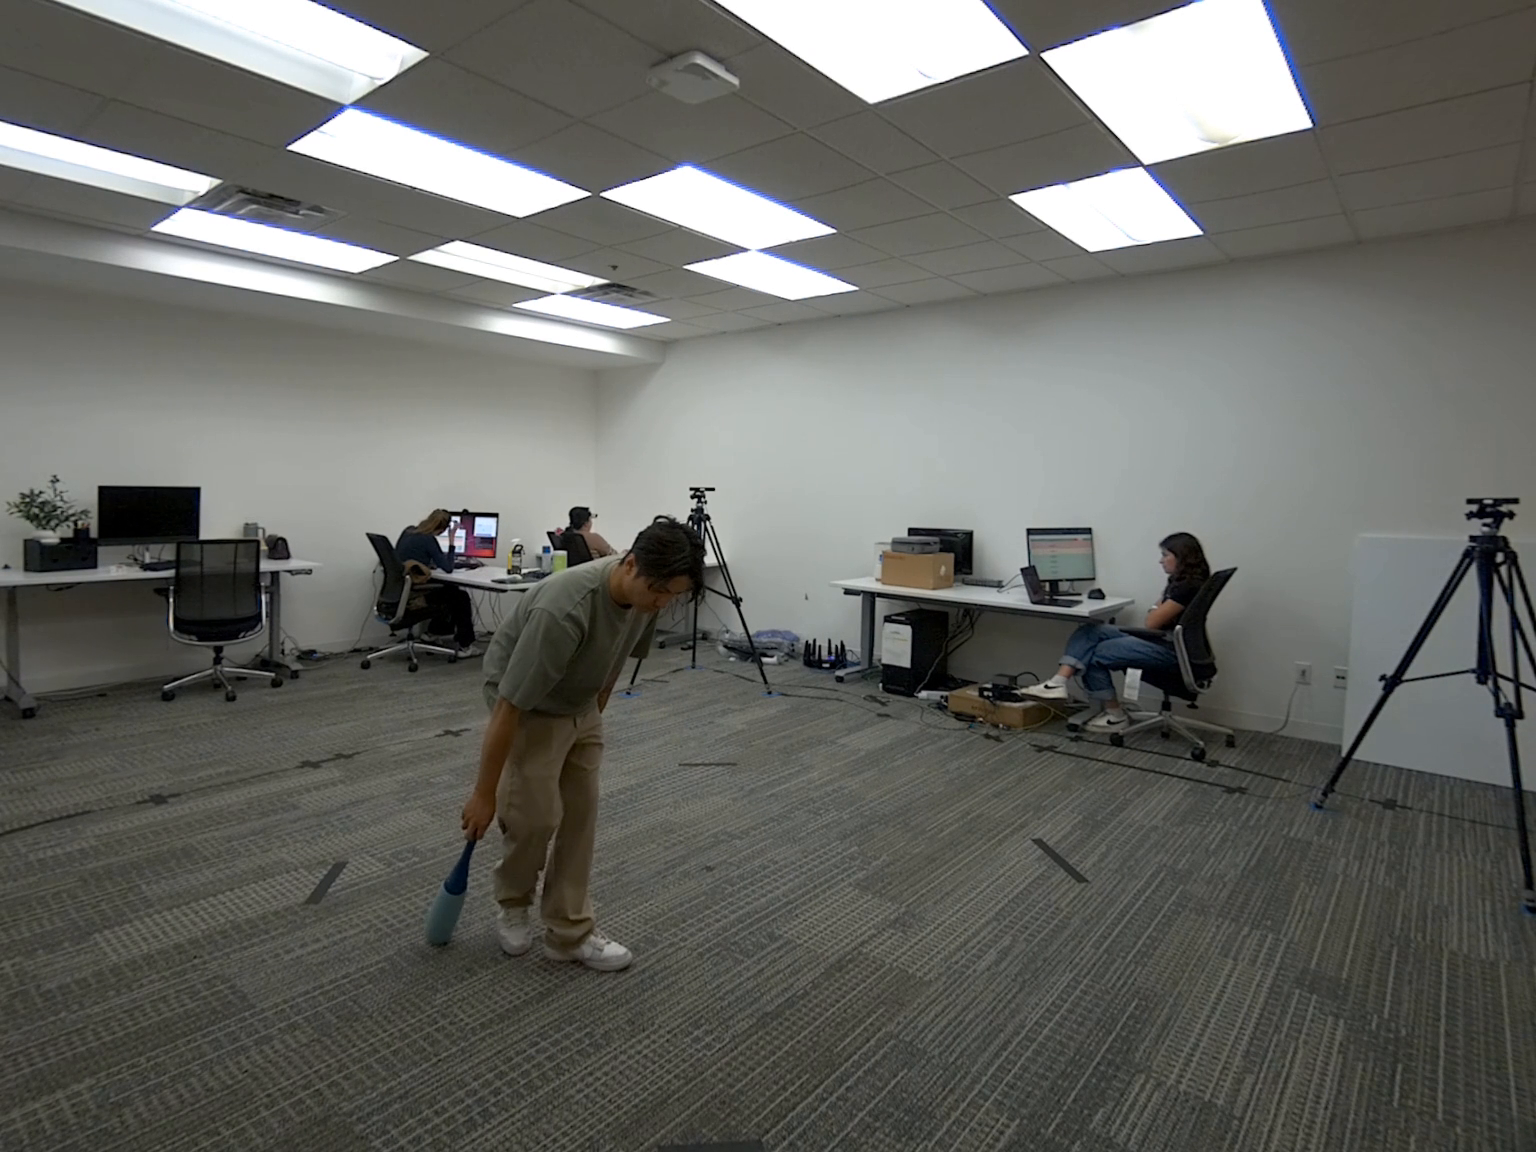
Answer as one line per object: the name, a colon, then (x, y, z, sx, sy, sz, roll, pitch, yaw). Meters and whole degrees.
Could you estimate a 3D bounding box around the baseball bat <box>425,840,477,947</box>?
baseball bat: (-0.913, 0.886, 2.465, 0.087, 0.537, 0.091, 19, 30, -14)
